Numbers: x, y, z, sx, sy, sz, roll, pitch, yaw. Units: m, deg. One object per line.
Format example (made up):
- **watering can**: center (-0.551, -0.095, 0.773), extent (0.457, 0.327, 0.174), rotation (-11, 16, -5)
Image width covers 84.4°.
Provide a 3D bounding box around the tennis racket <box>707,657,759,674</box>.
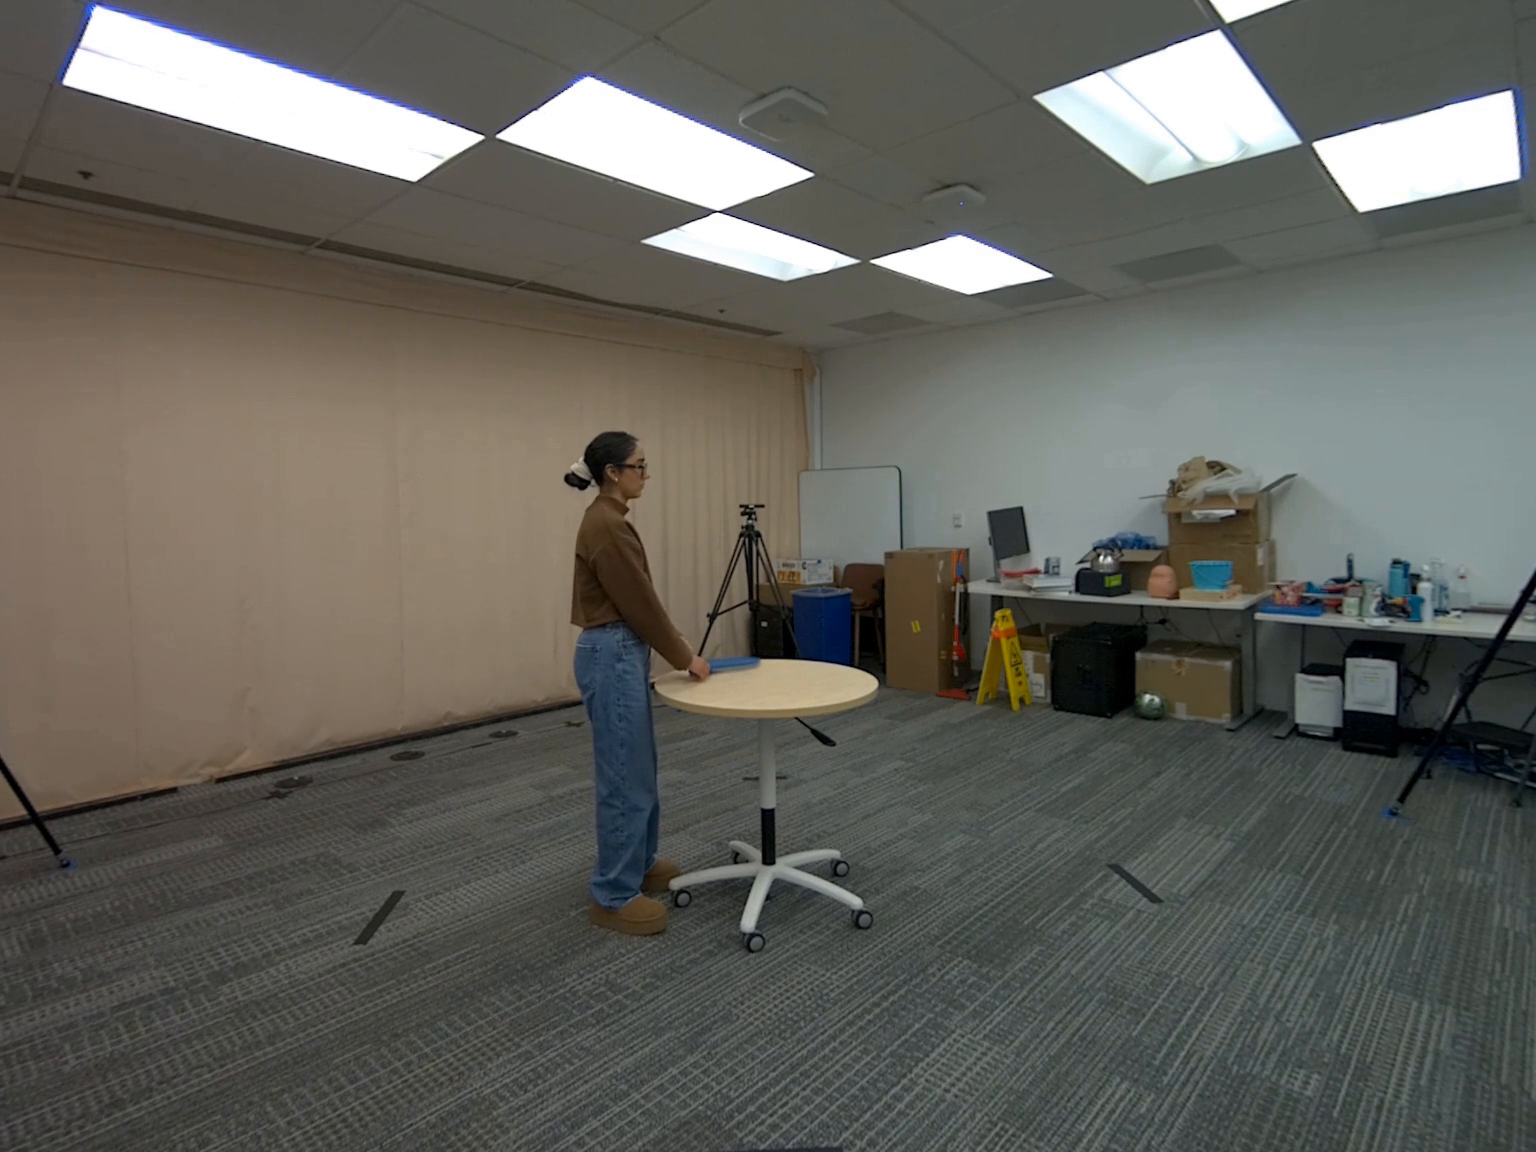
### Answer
- **tennis racket**: center (-0.203, 0.336, 3.113), extent (0.420, 0.032, 0.220), rotation (-4, 3, -42)
